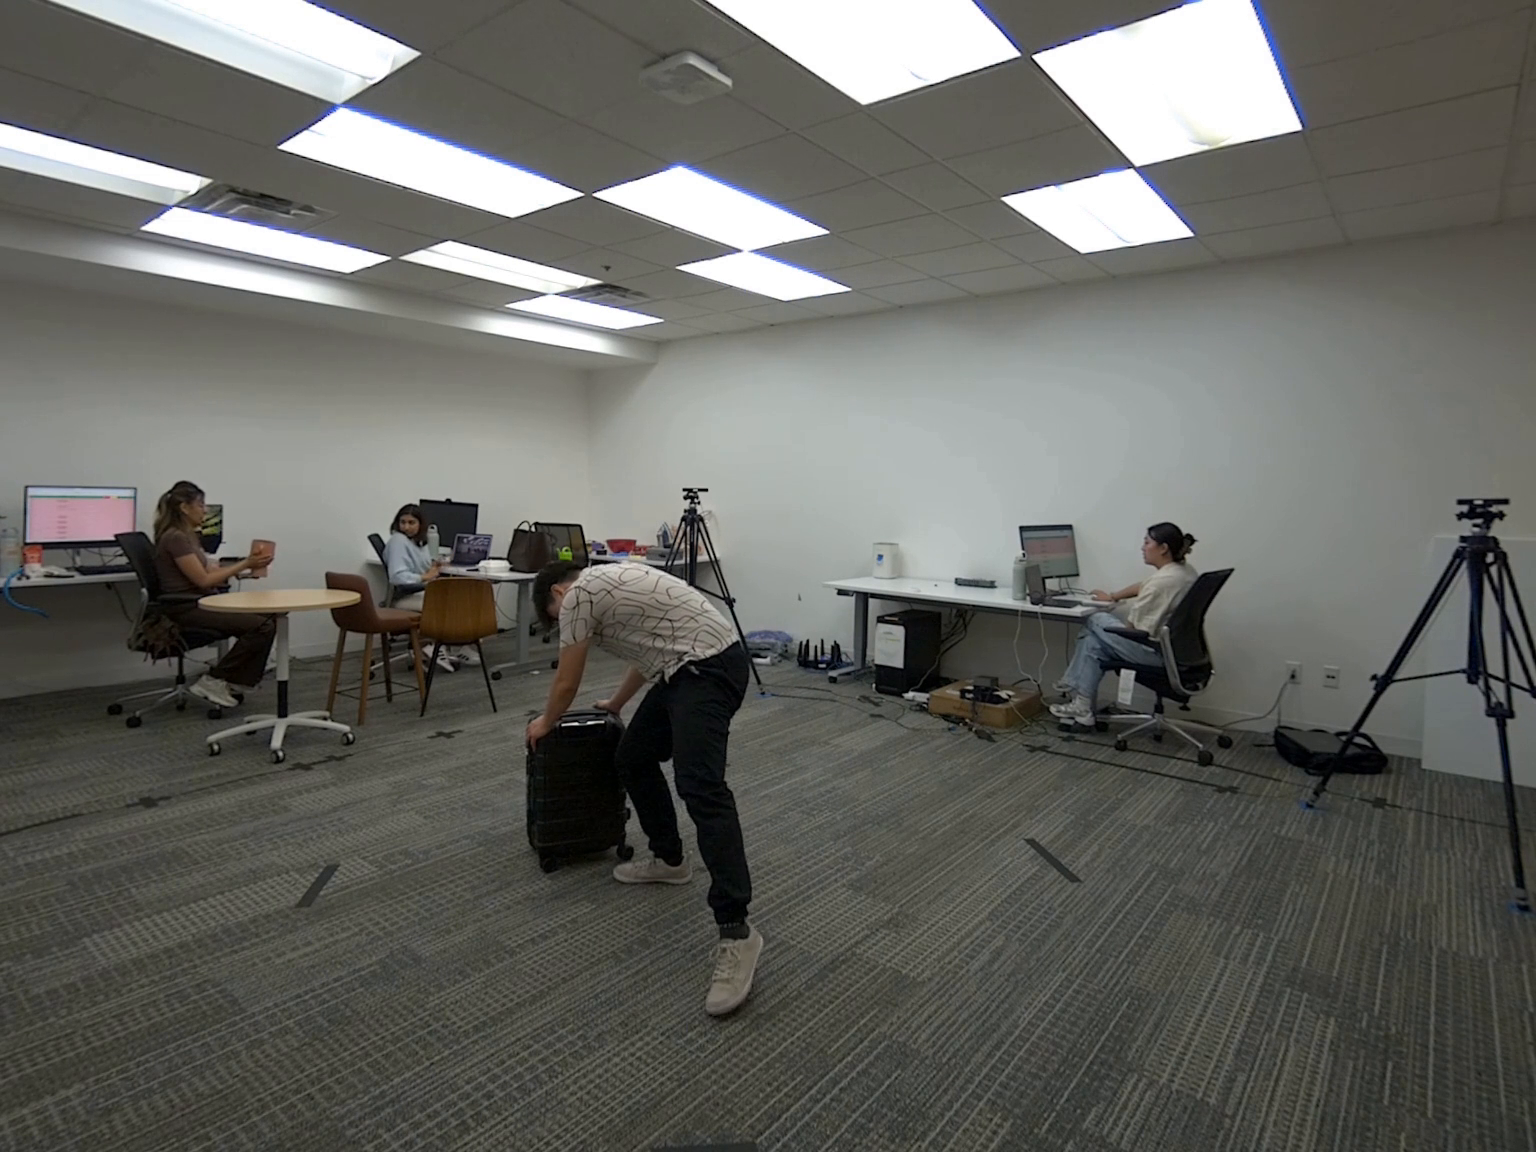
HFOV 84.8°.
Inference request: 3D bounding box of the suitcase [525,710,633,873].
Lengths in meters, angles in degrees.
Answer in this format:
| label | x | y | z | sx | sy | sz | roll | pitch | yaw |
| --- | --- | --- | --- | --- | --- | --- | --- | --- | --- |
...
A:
| label | x | y | z | sx | sy | sz | roll | pitch | yaw |
| --- | --- | --- | --- | --- | --- | --- | --- | --- | --- |
| suitcase | -0.736 | 0.776 | 3.203 | 0.367 | 0.548 | 0.254 | -1 | 3 | -23 |
